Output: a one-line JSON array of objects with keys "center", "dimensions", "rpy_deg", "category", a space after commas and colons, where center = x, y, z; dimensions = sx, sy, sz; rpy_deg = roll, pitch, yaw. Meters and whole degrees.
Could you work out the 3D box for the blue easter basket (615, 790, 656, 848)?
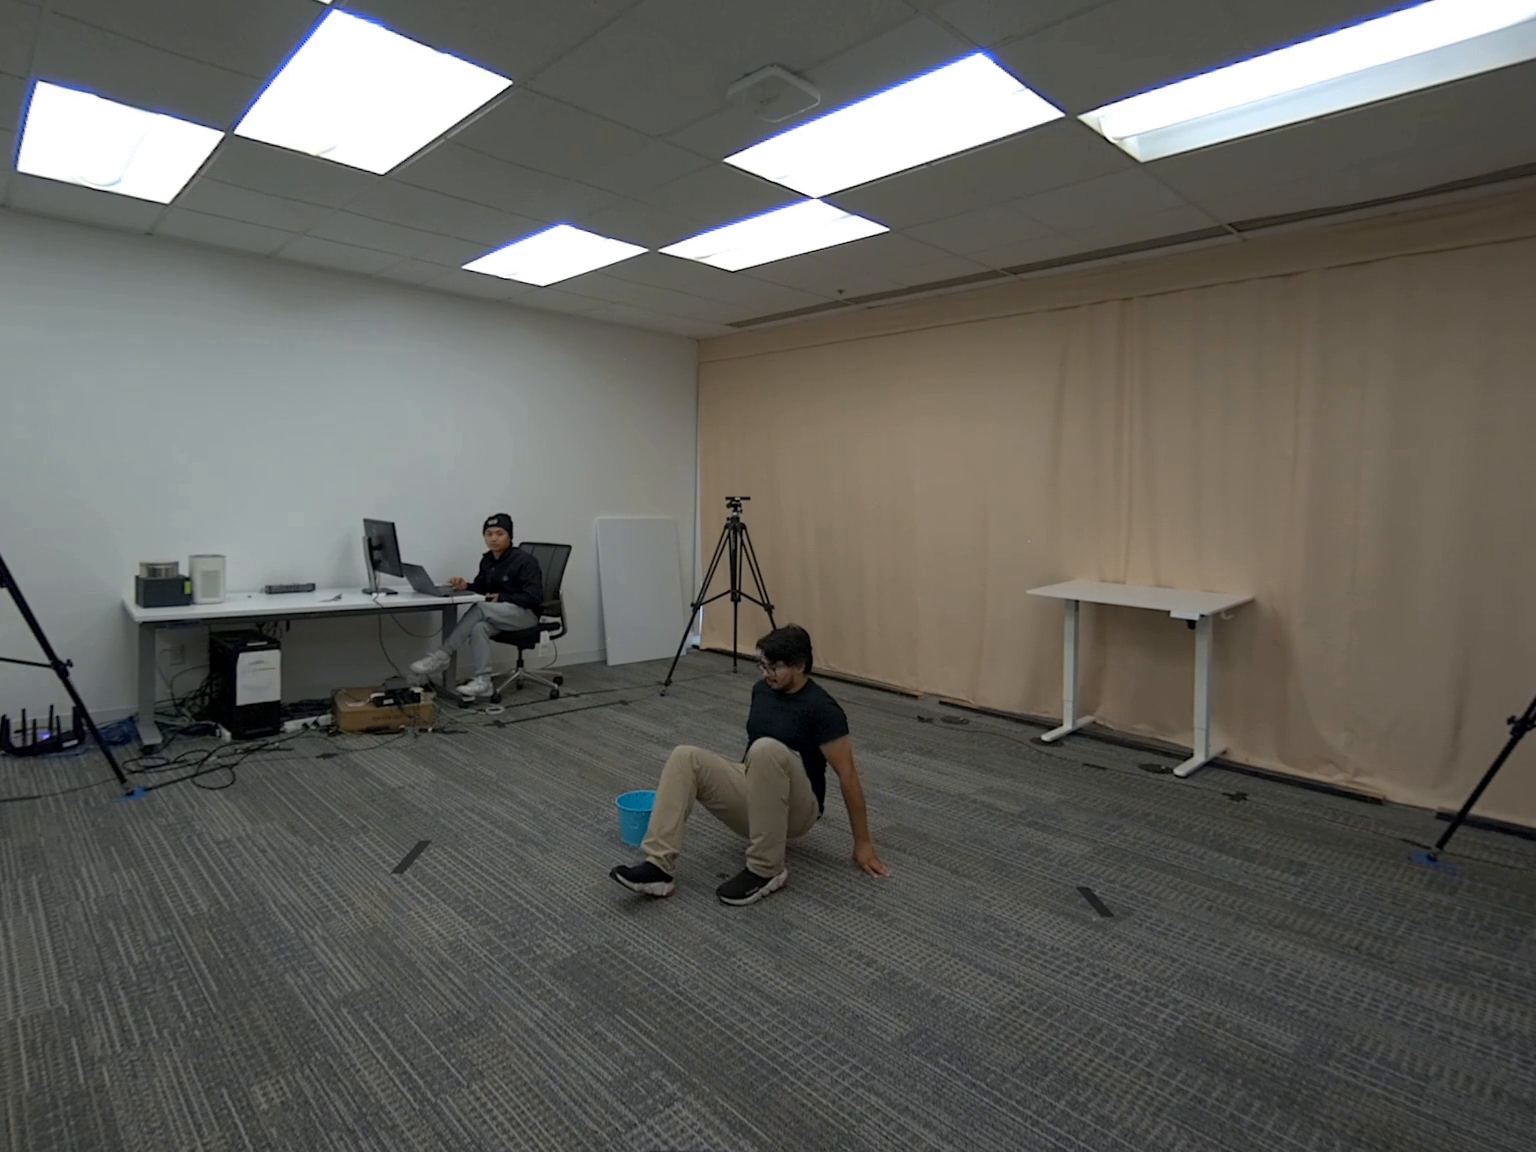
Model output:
[{"center": [-0.505, 0.984, 3.447], "dimensions": [0.243, 0.155, 0.244], "rpy_deg": [2, 4, -1], "category": "blue easter basket"}]
